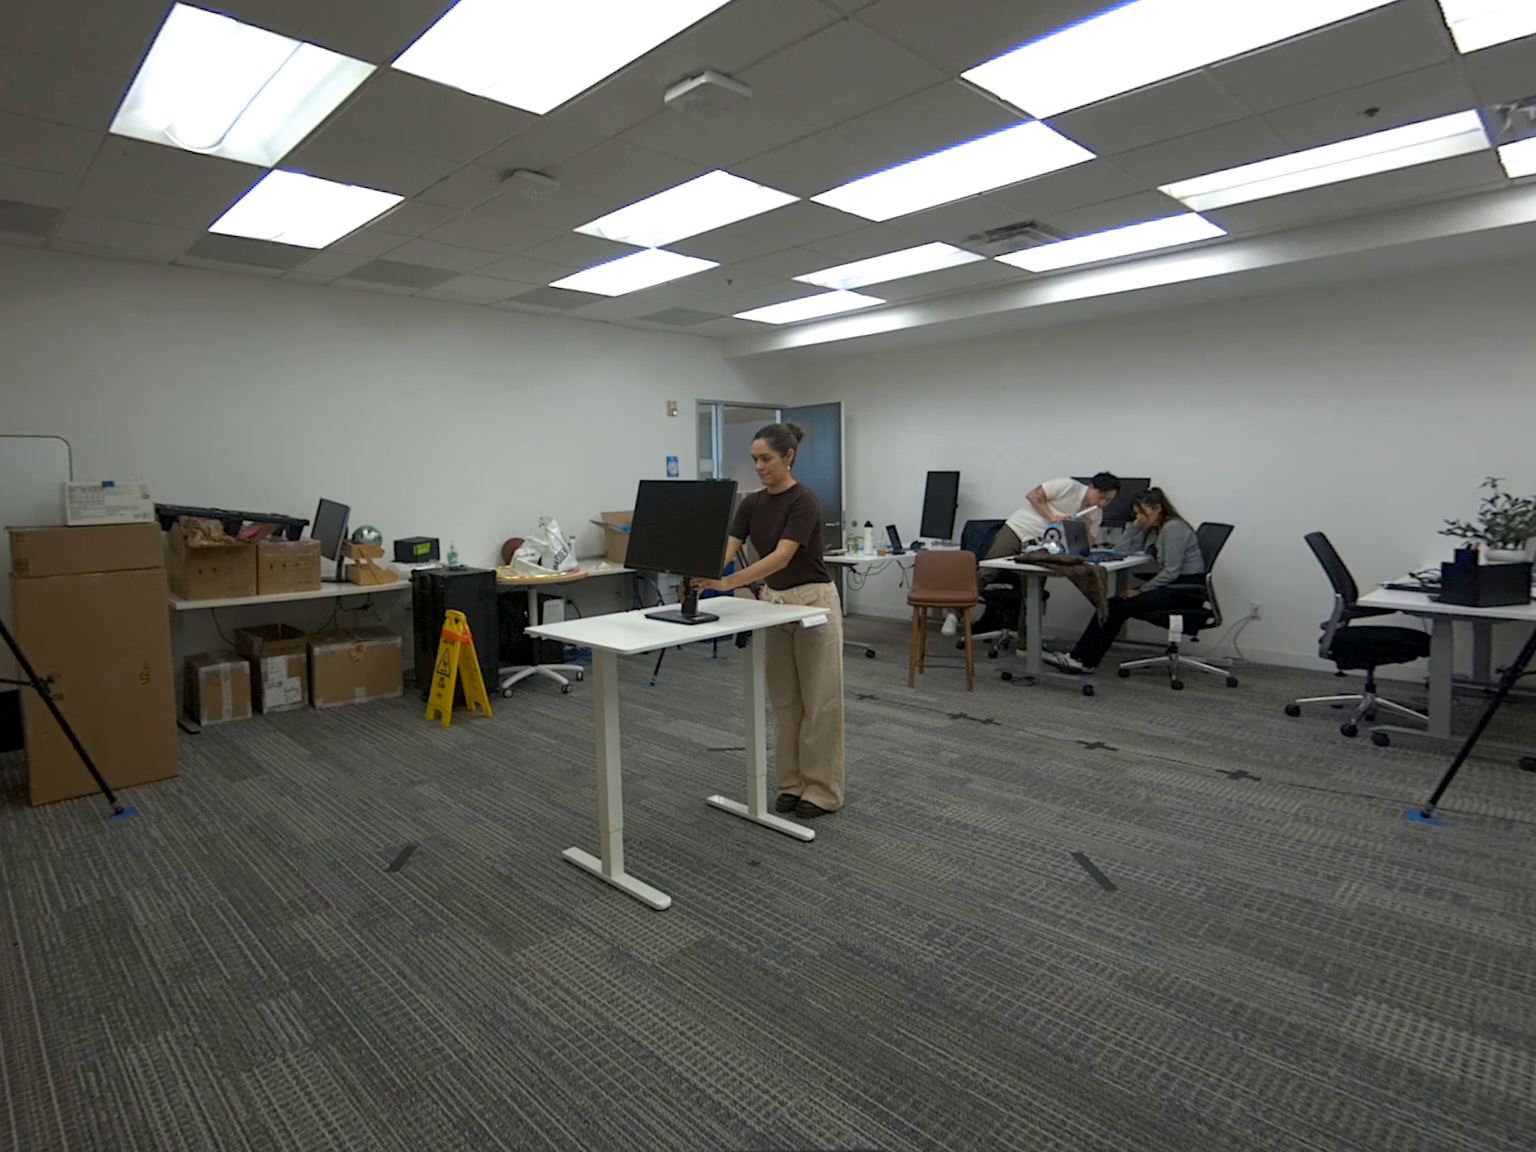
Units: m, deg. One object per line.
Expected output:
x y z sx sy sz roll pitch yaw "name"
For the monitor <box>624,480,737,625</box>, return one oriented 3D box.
-0.309 -0.096 3.164 0.547 0.512 0.170 5 10 44 "monitor"
